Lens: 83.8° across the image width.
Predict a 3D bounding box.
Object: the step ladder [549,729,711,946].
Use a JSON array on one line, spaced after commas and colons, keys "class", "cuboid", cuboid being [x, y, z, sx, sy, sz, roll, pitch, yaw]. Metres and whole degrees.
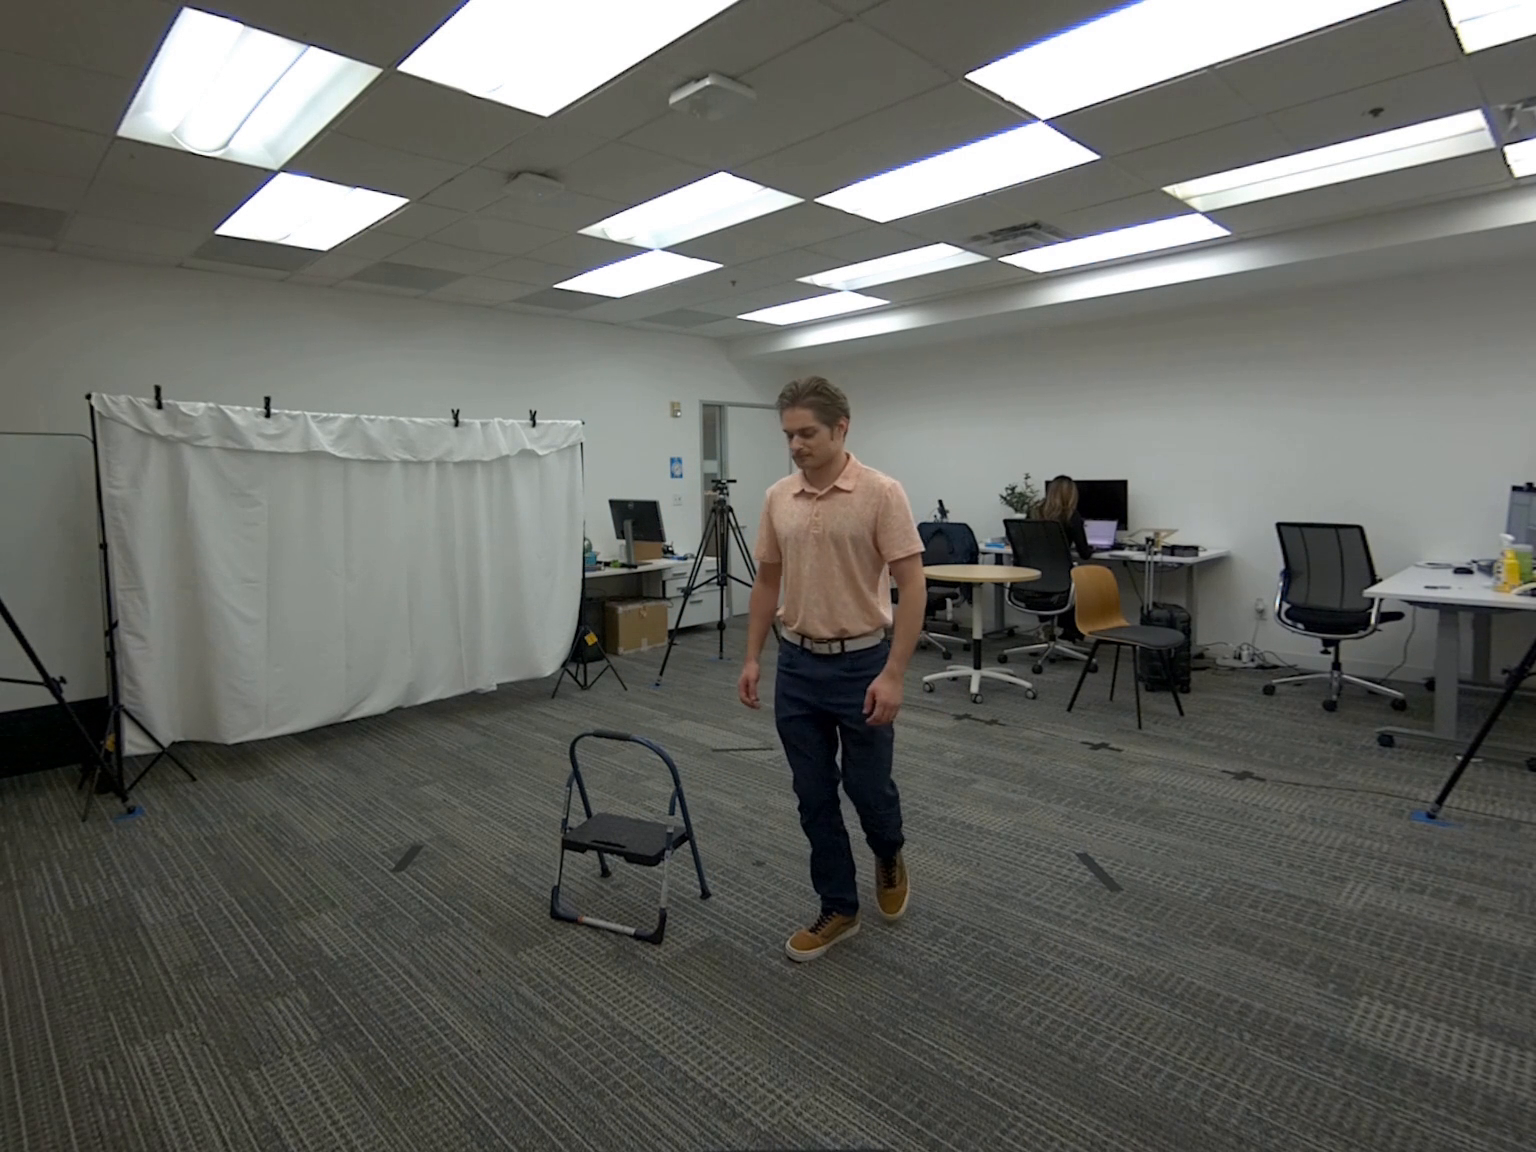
[{"class": "step ladder", "cuboid": [-0.457, 0.788, 2.798, 0.440, 0.604, 0.343, 0, 4, 23]}]
